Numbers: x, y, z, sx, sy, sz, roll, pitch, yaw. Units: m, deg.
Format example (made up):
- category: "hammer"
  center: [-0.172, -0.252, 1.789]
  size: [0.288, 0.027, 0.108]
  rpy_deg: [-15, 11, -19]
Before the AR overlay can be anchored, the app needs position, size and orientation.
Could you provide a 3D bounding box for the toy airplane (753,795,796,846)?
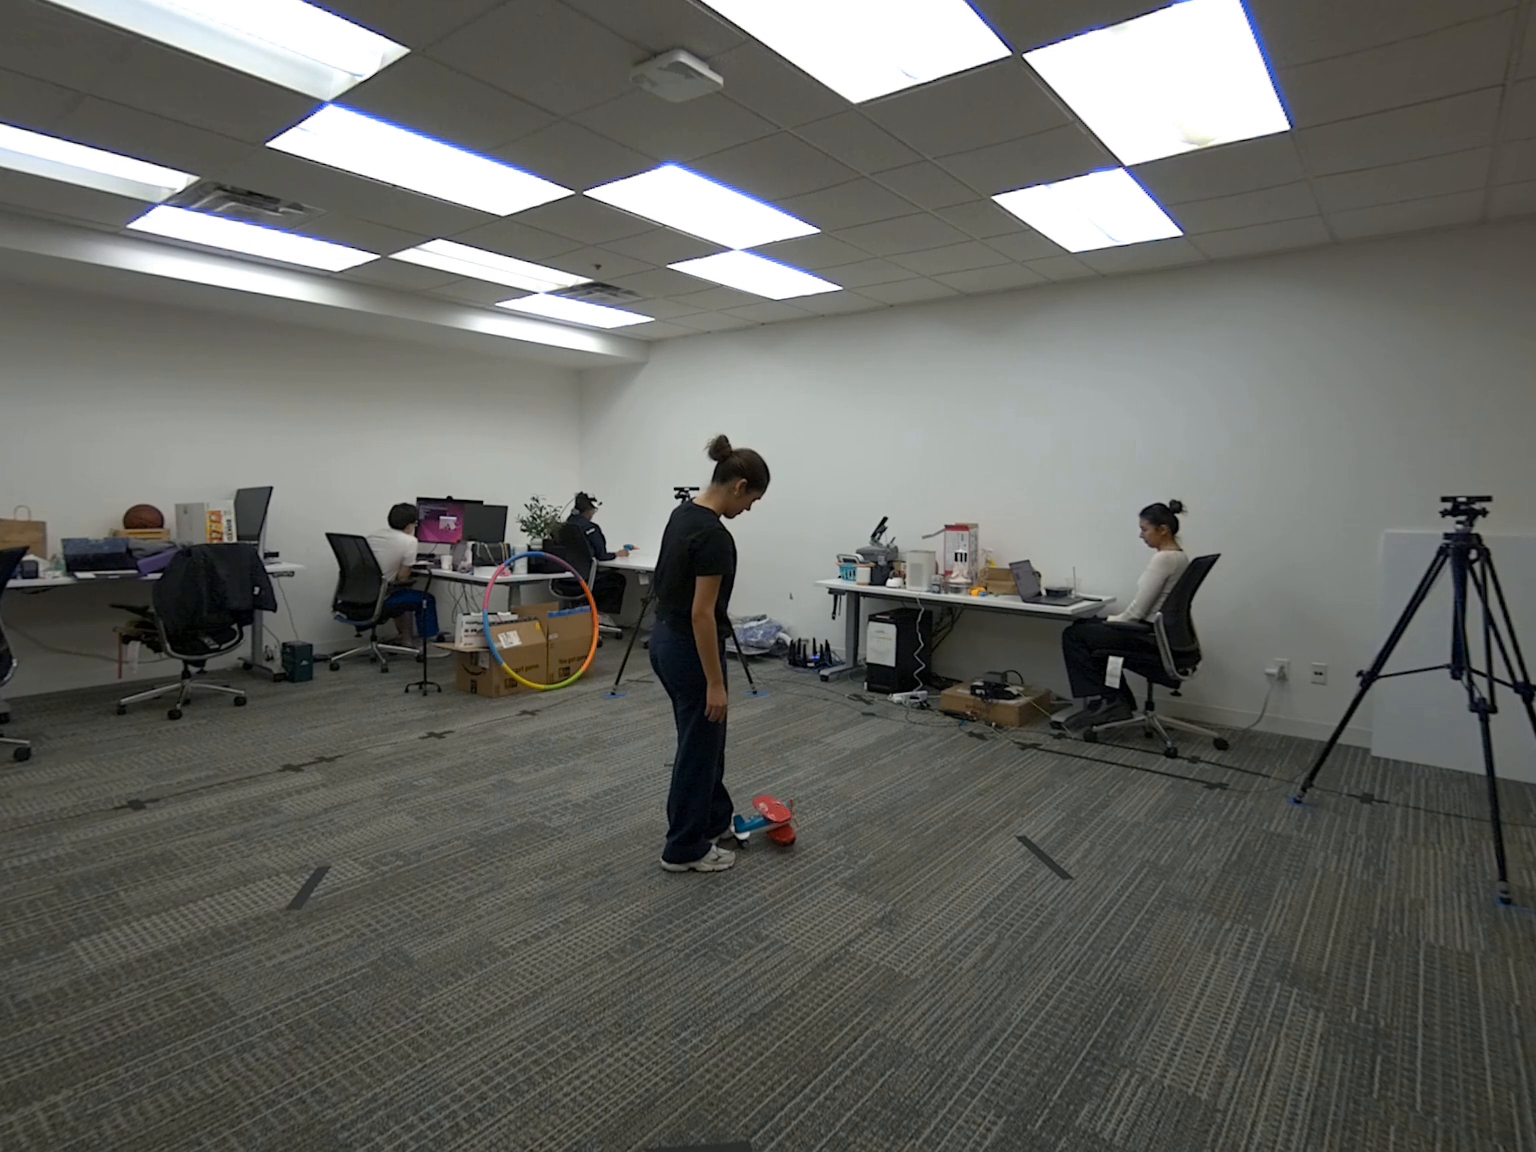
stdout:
- category: "toy airplane"
  center: [0.006, 0.975, 3.329]
  size: [0.260, 0.156, 0.251]
  rpy_deg: [5, 5, 41]
